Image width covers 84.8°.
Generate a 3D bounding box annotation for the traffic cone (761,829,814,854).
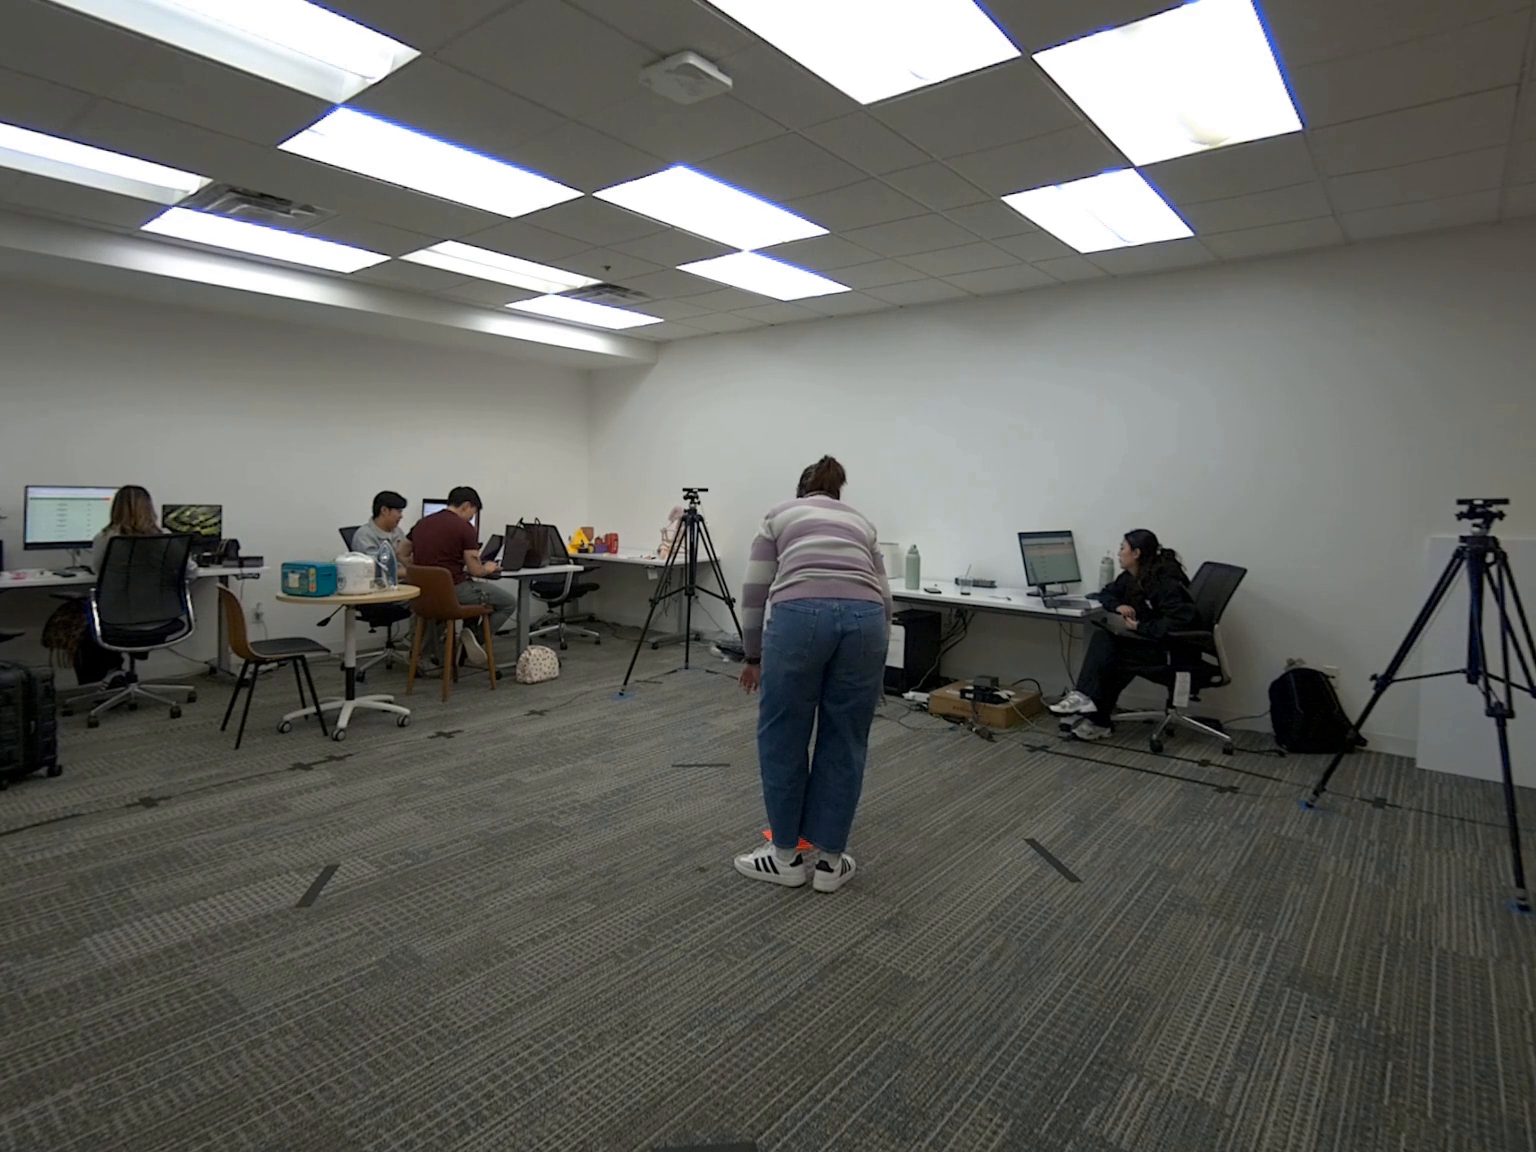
[{"bbox_3d":[0.103,0.859,3.388,0.201,0.383,0.208,2,3,-19],"label":"traffic cone"}]
